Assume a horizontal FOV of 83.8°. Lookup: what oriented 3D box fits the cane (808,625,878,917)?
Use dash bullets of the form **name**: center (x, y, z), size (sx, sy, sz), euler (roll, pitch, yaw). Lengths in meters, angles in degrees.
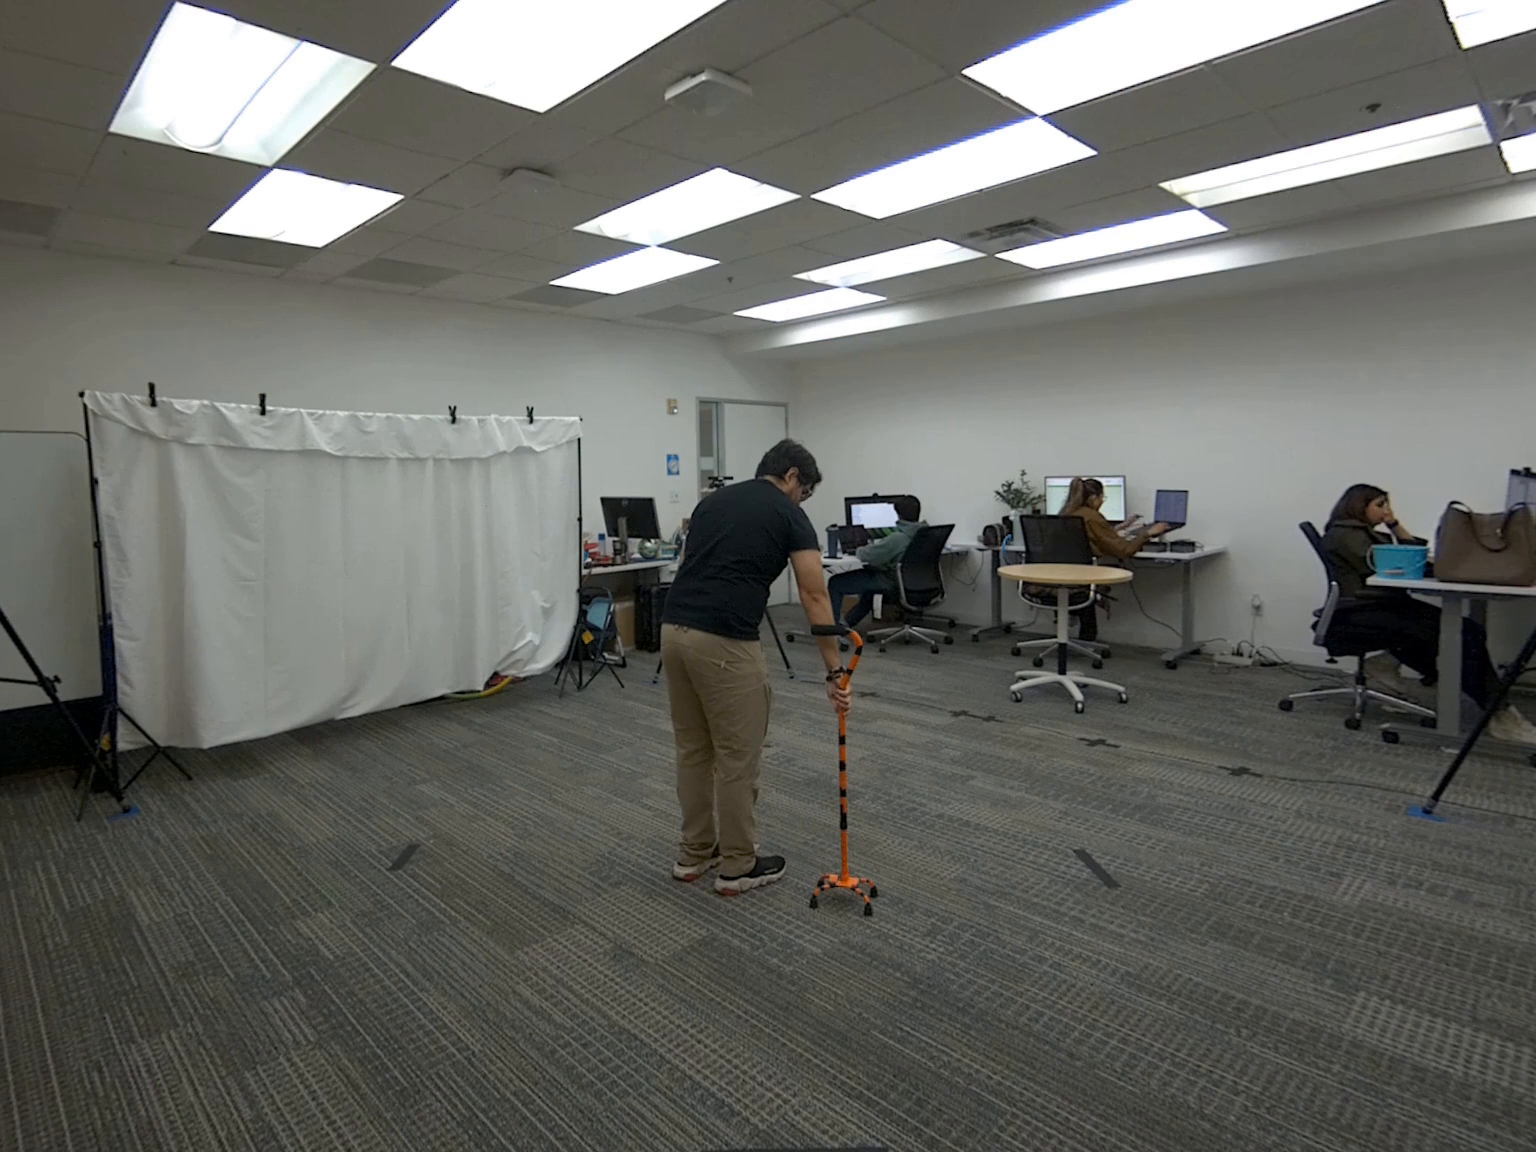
- **cane**: center (0.249, 0.613, 2.765), size (0.210, 0.905, 0.150), euler (1, 4, 15)
